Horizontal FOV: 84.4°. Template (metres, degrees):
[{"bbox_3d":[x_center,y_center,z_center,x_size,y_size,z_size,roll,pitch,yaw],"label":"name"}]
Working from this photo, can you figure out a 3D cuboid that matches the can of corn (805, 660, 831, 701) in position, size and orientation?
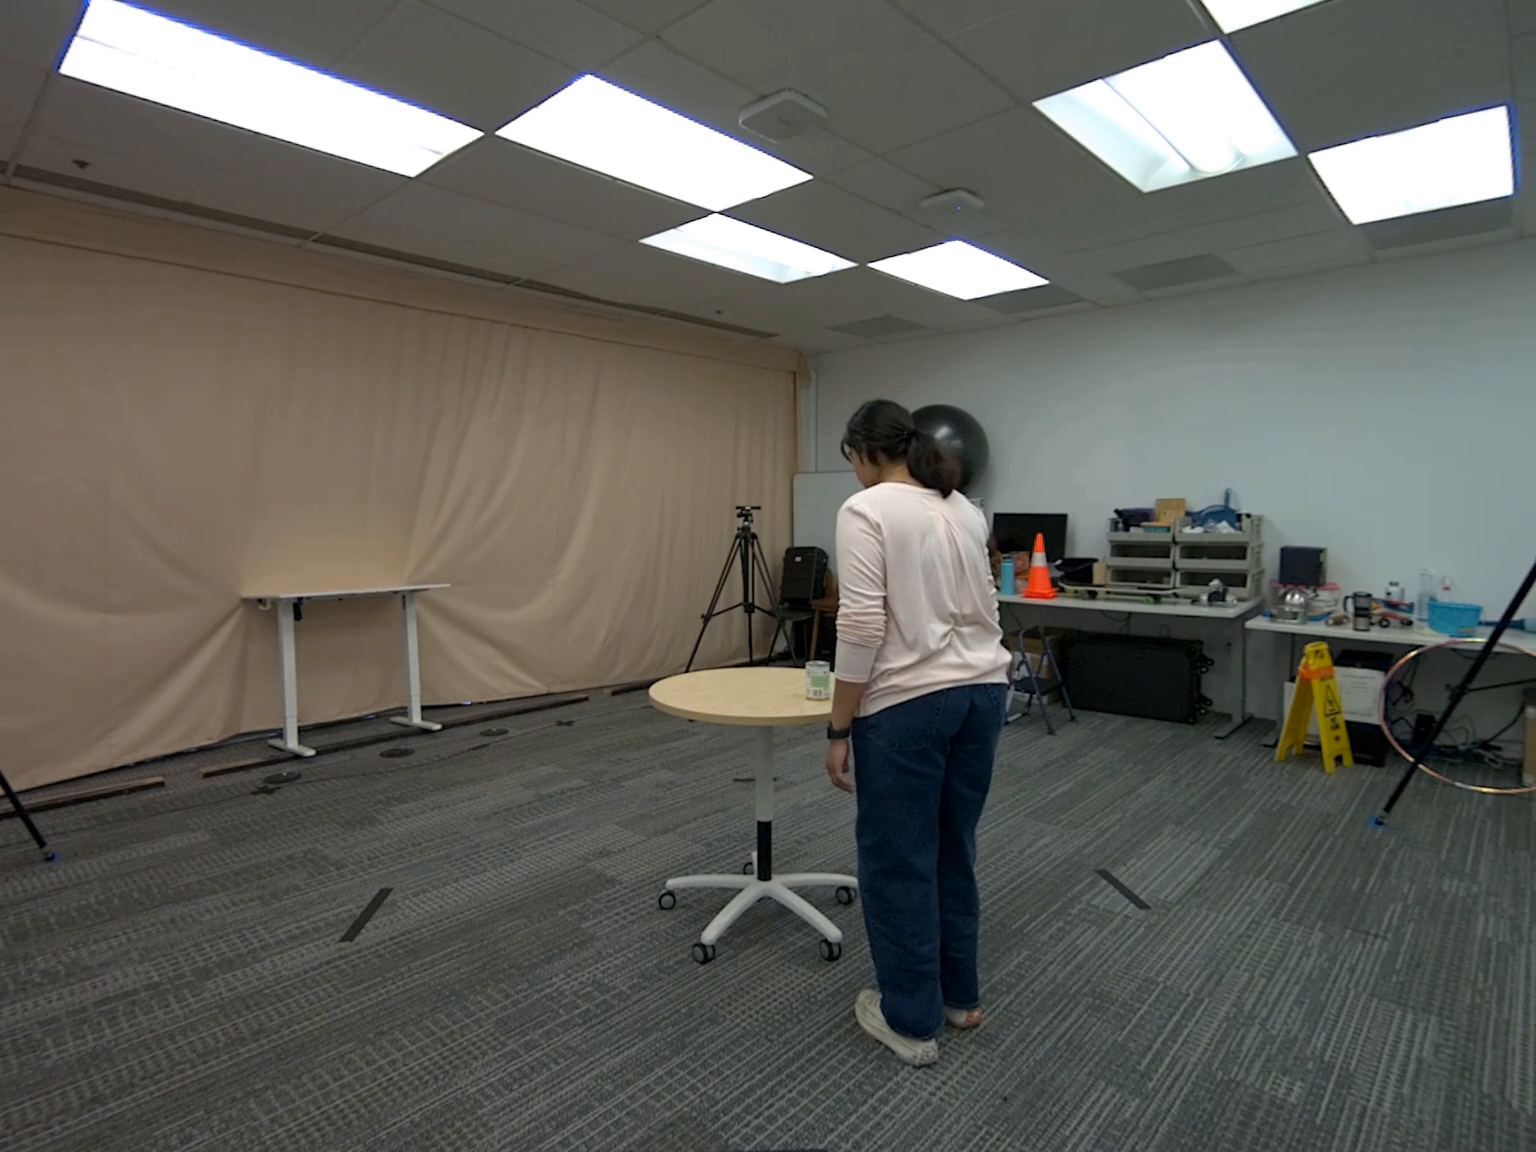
[{"bbox_3d":[0.164,0.333,2.643,0.074,0.111,0.074,0,3,-2],"label":"can of corn"}]
